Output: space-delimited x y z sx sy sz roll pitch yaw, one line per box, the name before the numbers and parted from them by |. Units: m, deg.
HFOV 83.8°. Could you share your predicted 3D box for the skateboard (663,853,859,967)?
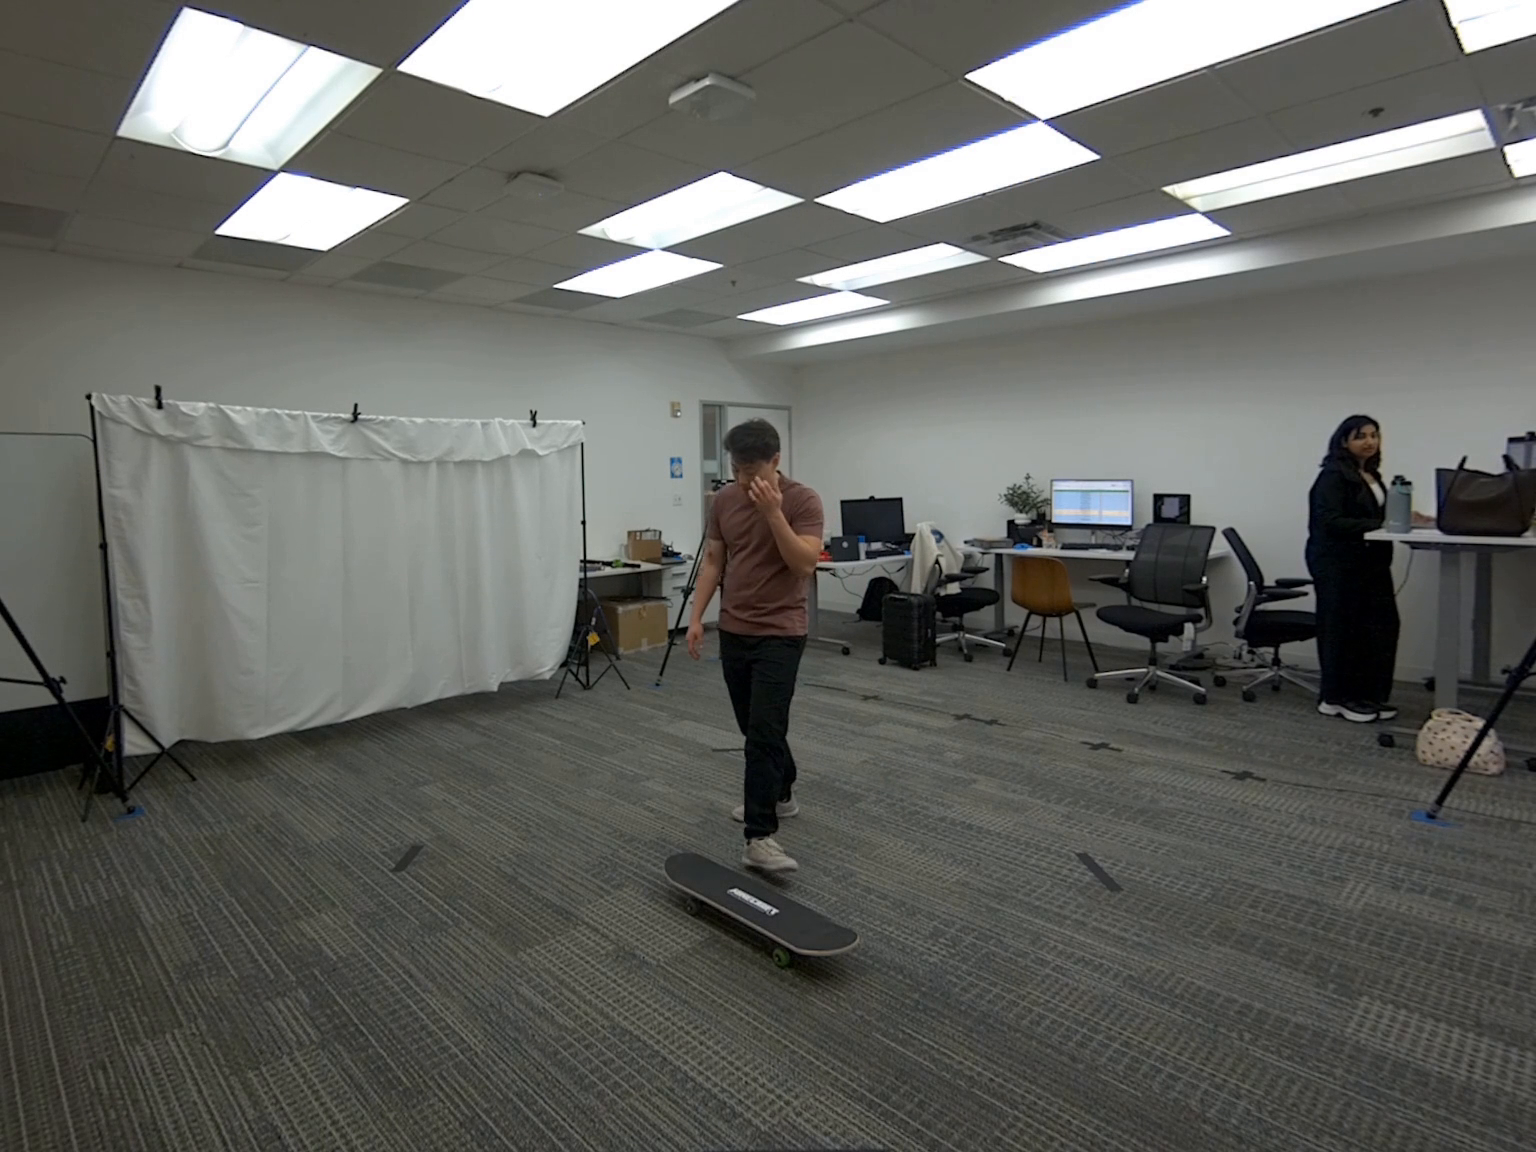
skateboard | -0.041 1.046 2.653 0.188 0.110 0.810 -5 7 -43
